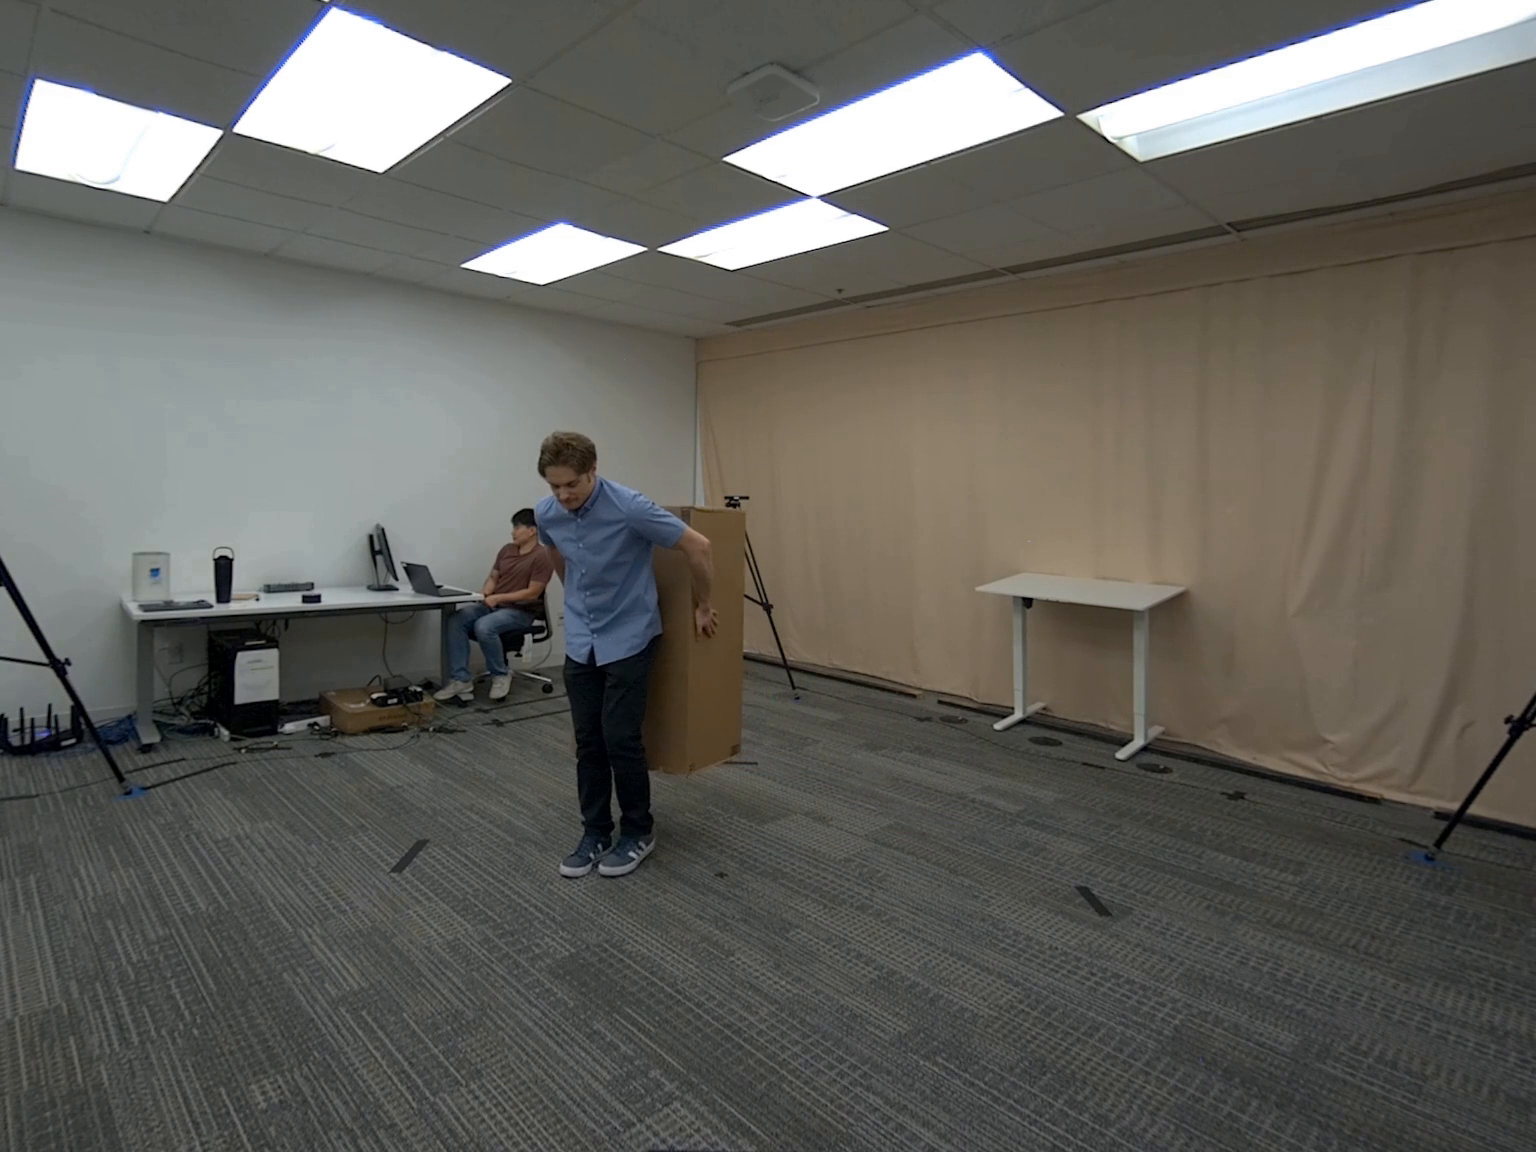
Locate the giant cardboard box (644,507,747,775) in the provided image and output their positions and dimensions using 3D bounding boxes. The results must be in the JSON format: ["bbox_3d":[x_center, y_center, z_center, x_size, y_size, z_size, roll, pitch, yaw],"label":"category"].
[{"bbox_3d":[-0.447,0.238,3.475,0.596,1.028,0.437,1,-1,28],"label":"giant cardboard box"}]
